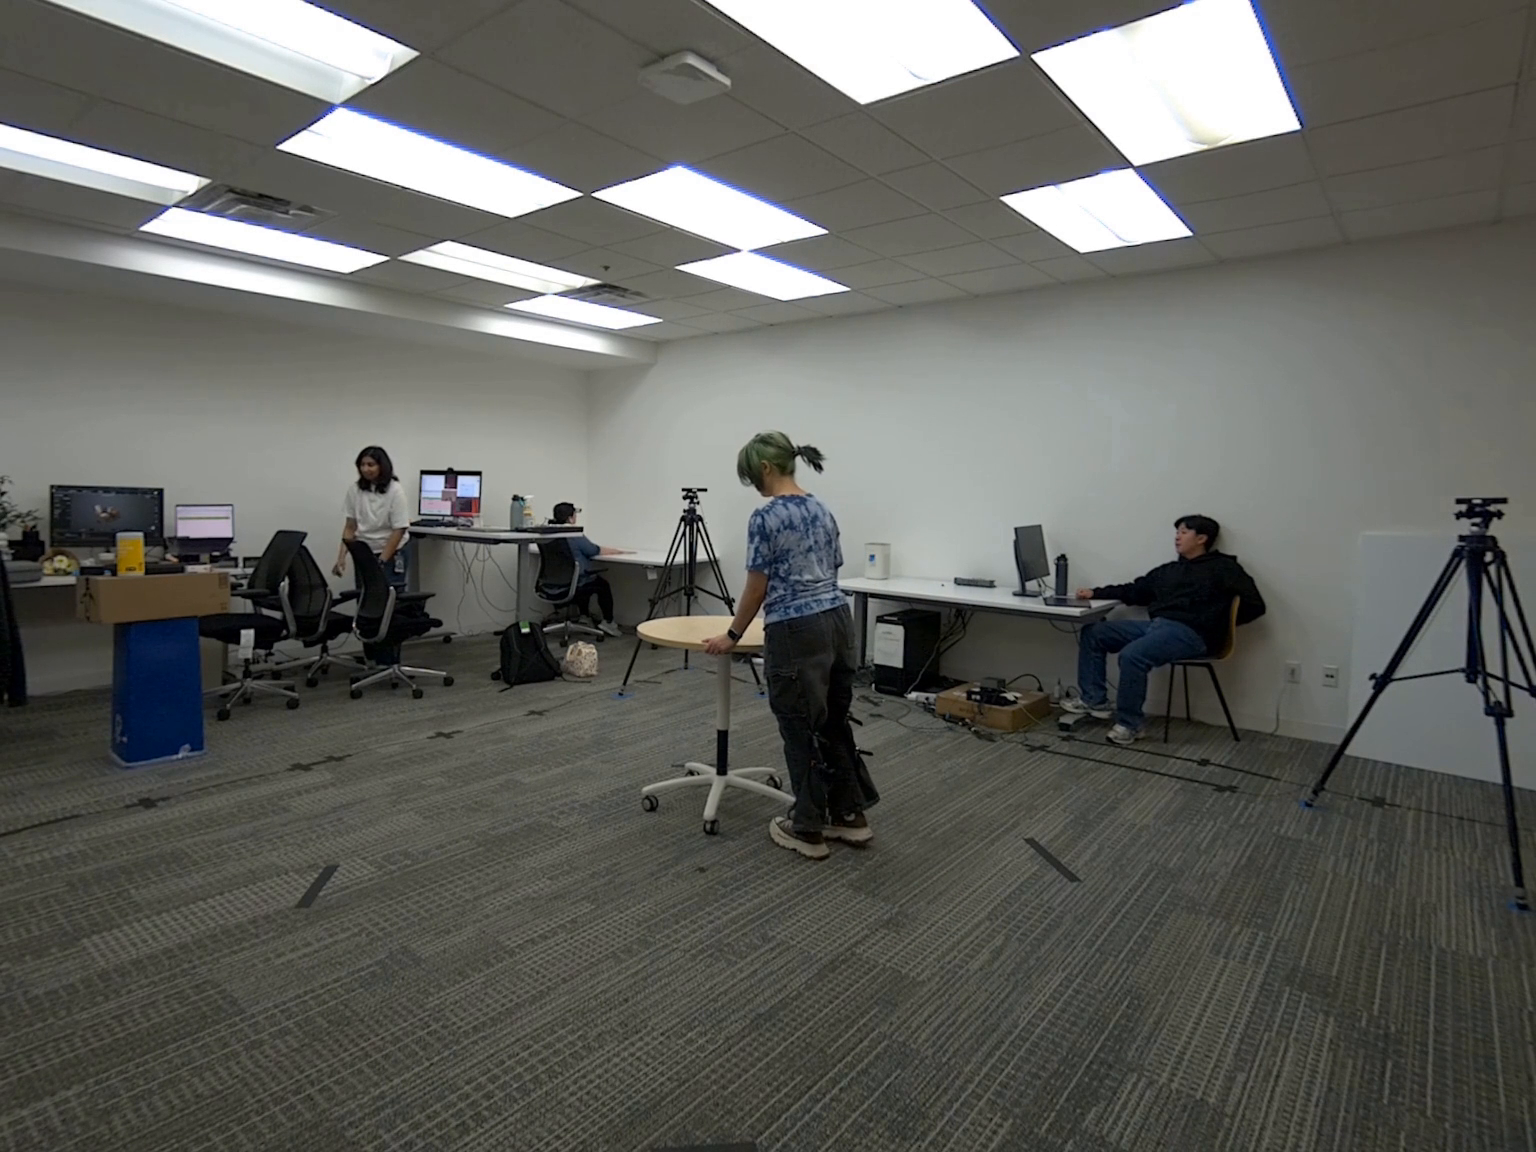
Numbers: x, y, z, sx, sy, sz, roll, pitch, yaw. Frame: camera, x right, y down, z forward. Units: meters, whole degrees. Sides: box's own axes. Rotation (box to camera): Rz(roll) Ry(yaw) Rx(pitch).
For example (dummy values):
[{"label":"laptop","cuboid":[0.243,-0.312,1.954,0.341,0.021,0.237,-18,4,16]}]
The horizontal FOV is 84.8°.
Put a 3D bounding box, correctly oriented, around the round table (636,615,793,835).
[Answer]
[{"label":"round table","cuboid":[-0.205,0.621,3.731,0.763,0.792,0.767,1,4,-2]}]
